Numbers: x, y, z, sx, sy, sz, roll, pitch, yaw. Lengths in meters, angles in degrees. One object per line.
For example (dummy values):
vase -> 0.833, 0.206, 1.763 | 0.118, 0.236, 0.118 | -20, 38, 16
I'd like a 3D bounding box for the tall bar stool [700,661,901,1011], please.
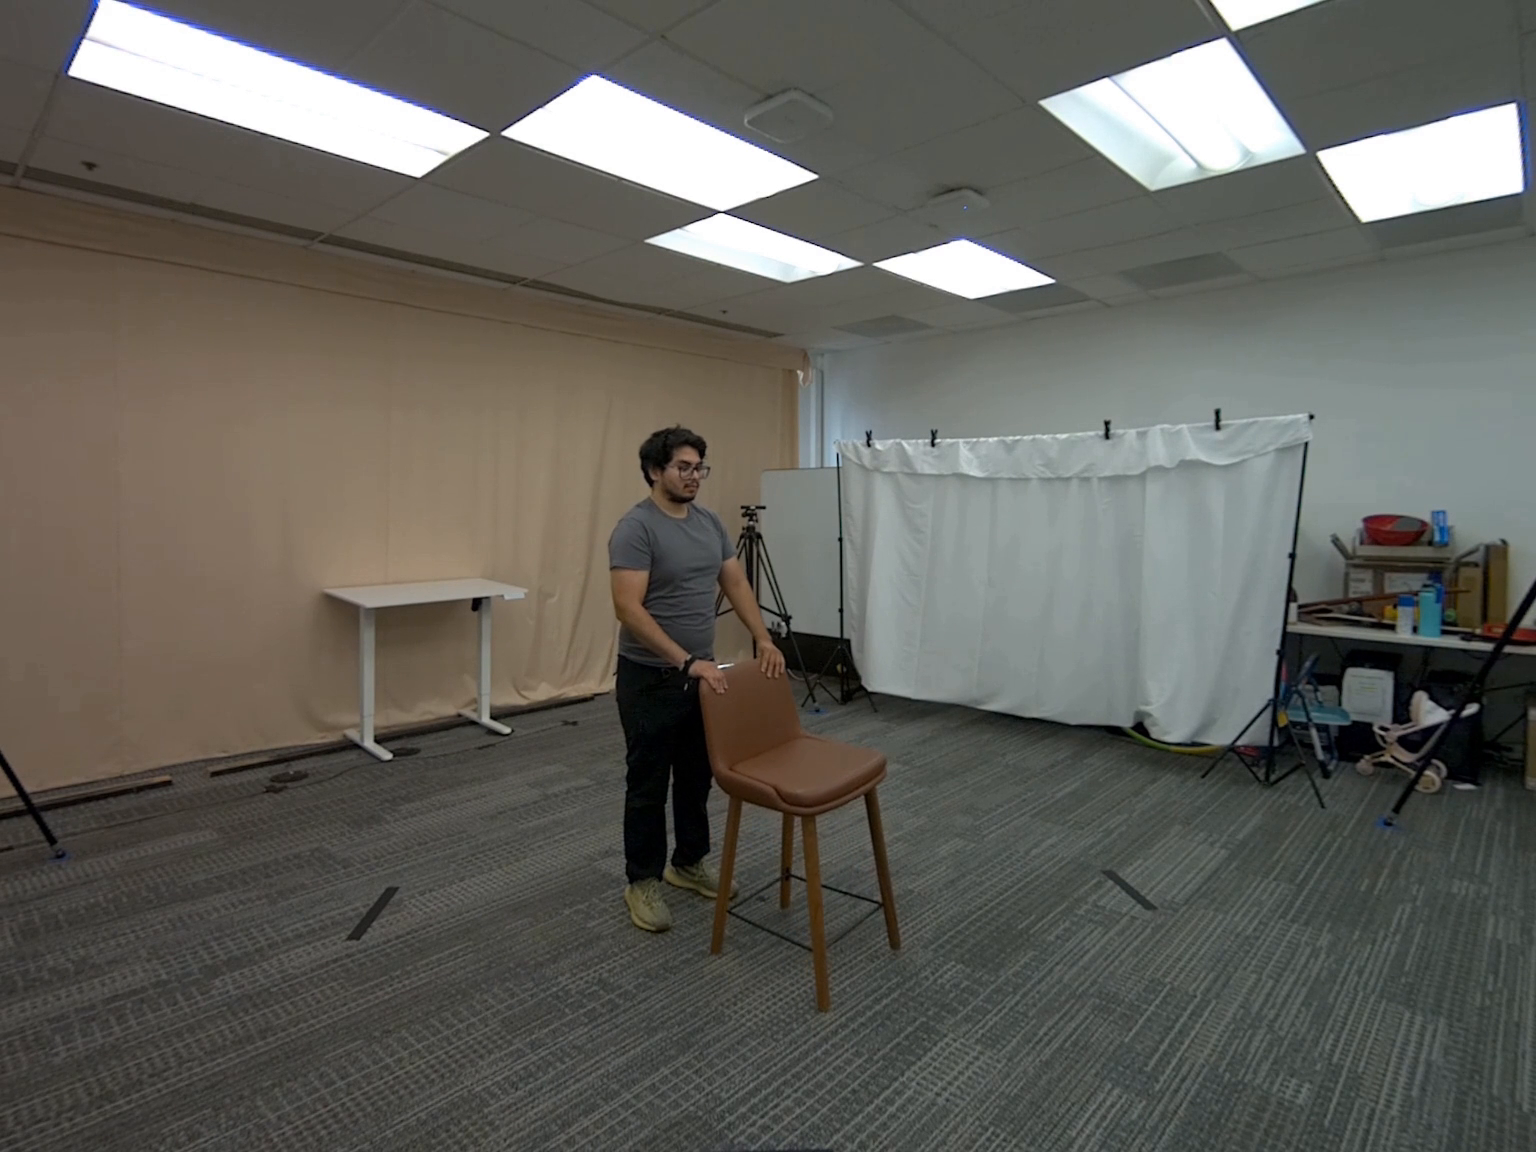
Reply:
tall bar stool -> 0.090, 0.731, 2.581 | 0.482, 0.887, 0.443 | 0, 5, 41
